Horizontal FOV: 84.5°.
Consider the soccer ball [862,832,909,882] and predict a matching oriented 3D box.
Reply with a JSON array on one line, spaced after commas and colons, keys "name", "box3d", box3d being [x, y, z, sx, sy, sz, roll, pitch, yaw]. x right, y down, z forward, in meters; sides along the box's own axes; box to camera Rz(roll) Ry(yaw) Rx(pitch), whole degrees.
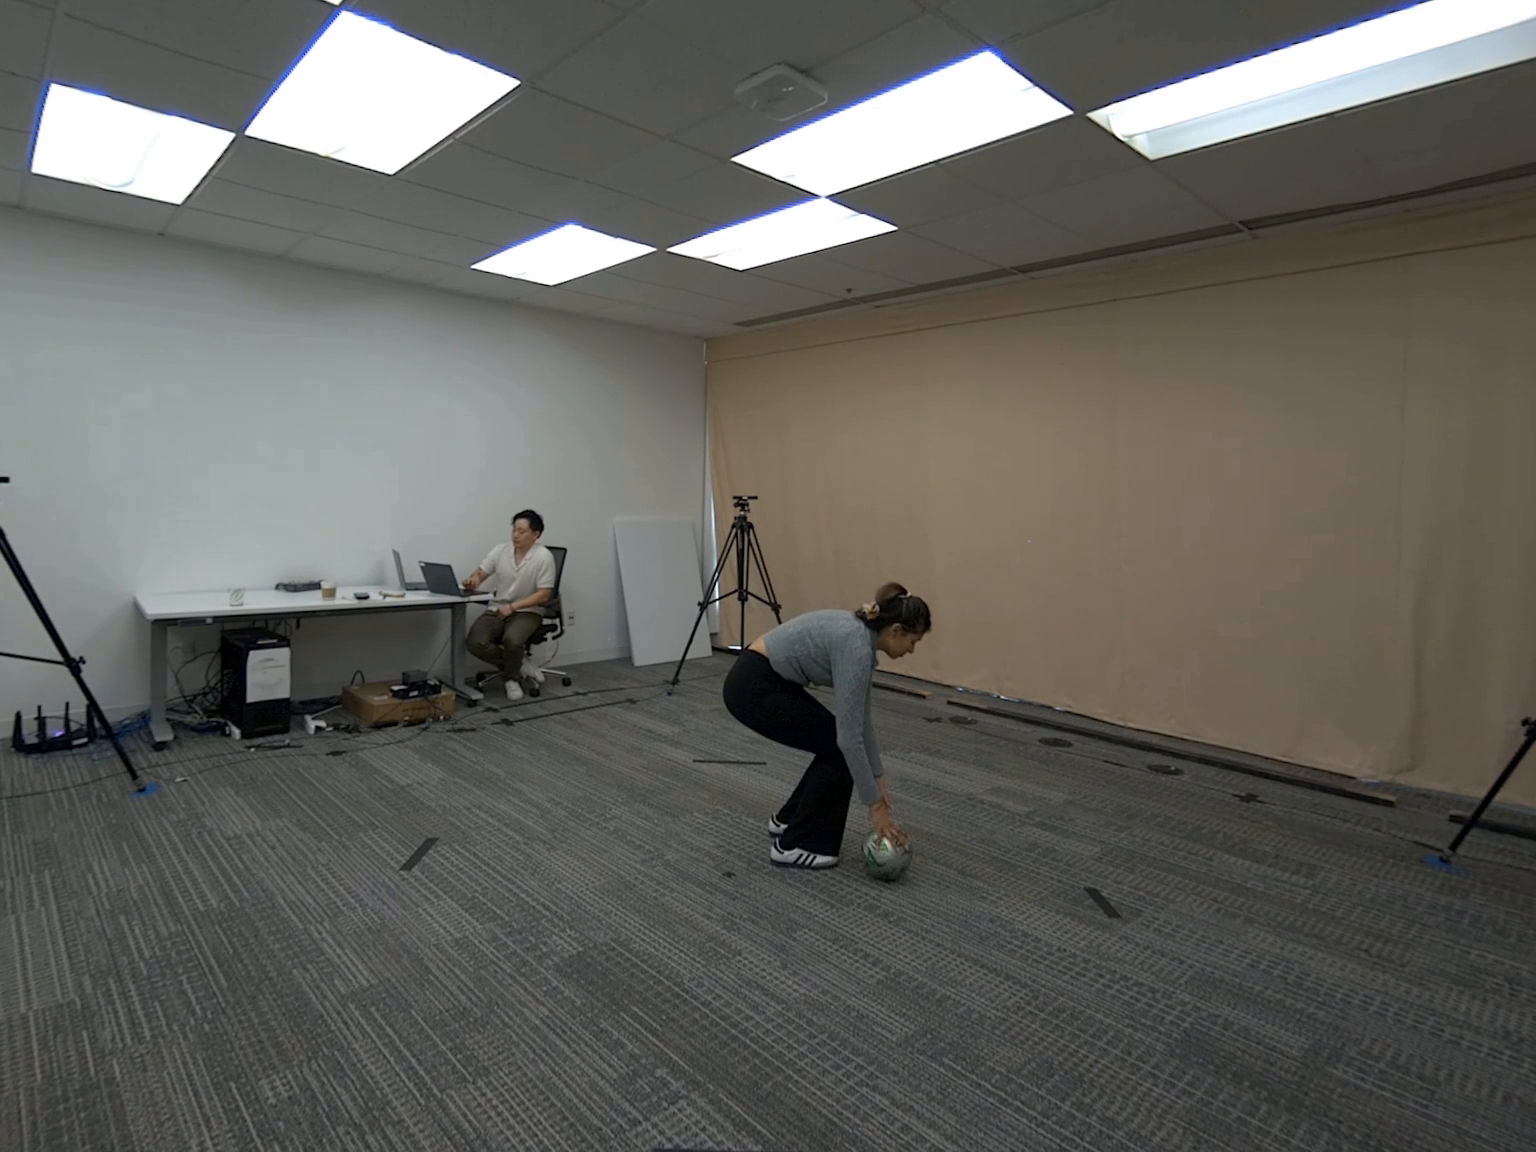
[{"name": "soccer ball", "box3d": [0.431, 0.980, 3.116, 0.187, 0.187, 0.188, 1, 4, -1]}]
